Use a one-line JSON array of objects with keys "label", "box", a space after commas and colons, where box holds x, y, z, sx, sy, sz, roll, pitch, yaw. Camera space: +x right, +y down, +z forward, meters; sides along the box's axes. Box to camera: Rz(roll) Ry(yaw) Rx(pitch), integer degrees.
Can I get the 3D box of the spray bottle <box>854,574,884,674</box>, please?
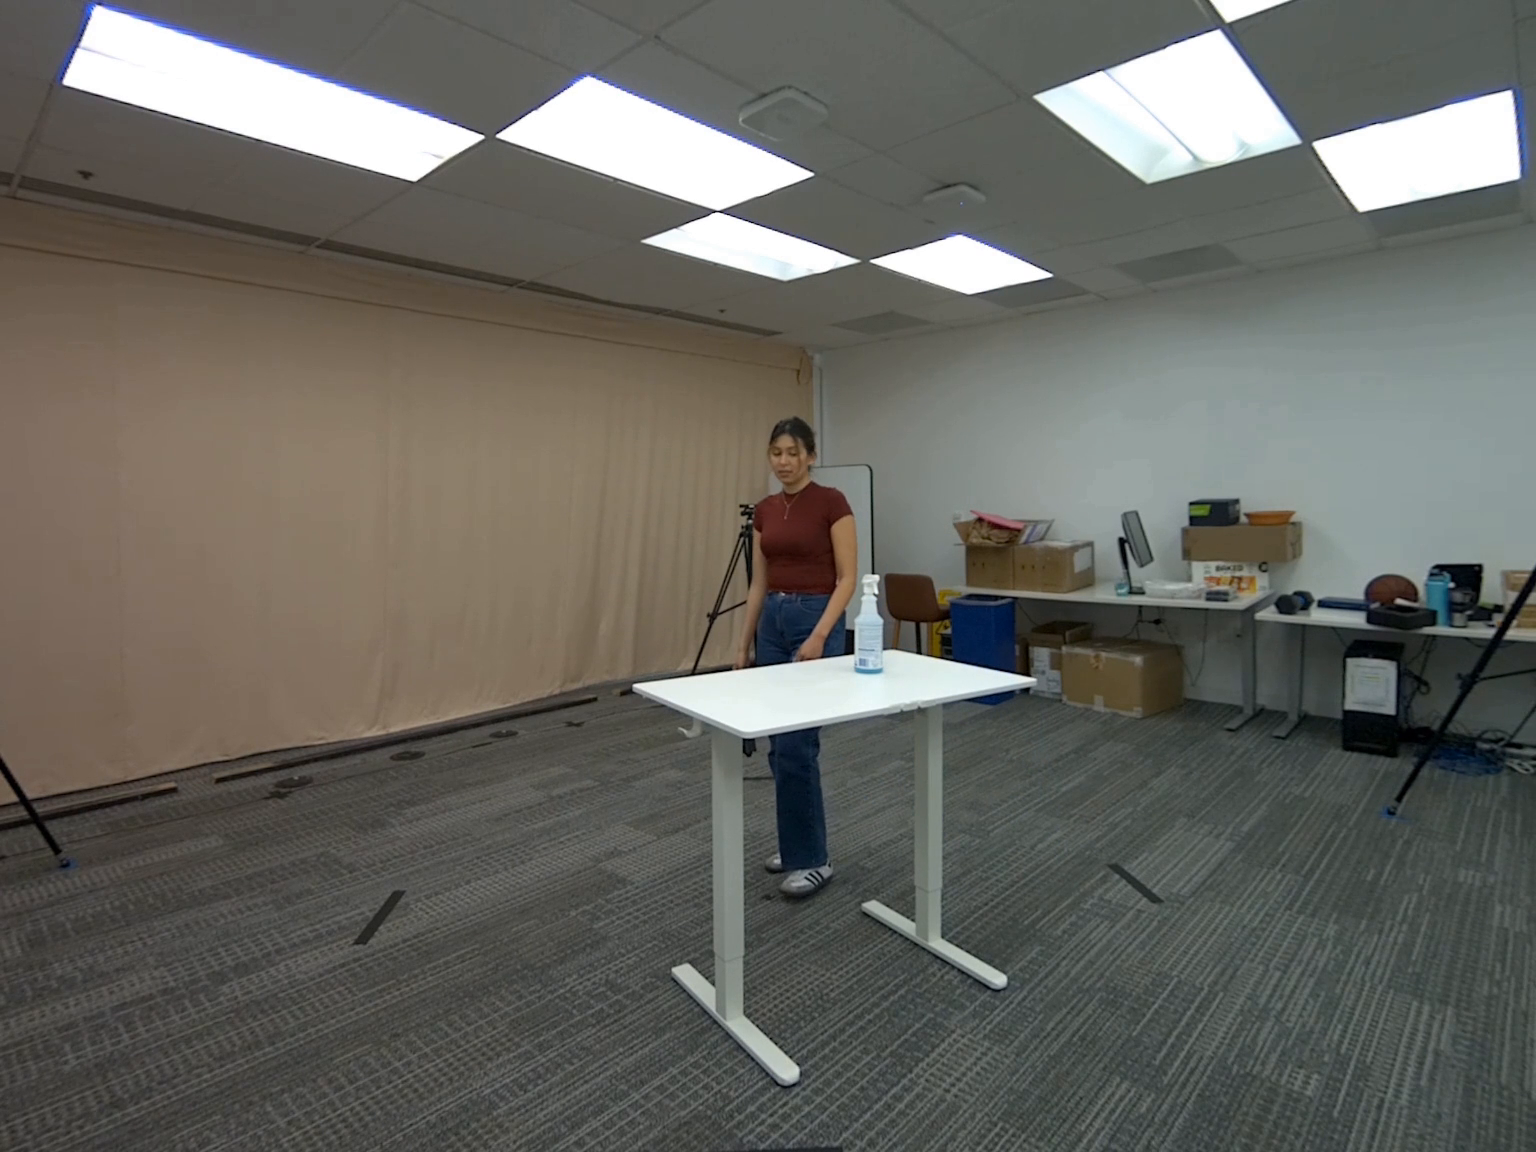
[{"label": "spray bottle", "box": [0.310, 0.145, 2.544, 0.087, 0.297, 0.090, 0, 4, 5]}]
